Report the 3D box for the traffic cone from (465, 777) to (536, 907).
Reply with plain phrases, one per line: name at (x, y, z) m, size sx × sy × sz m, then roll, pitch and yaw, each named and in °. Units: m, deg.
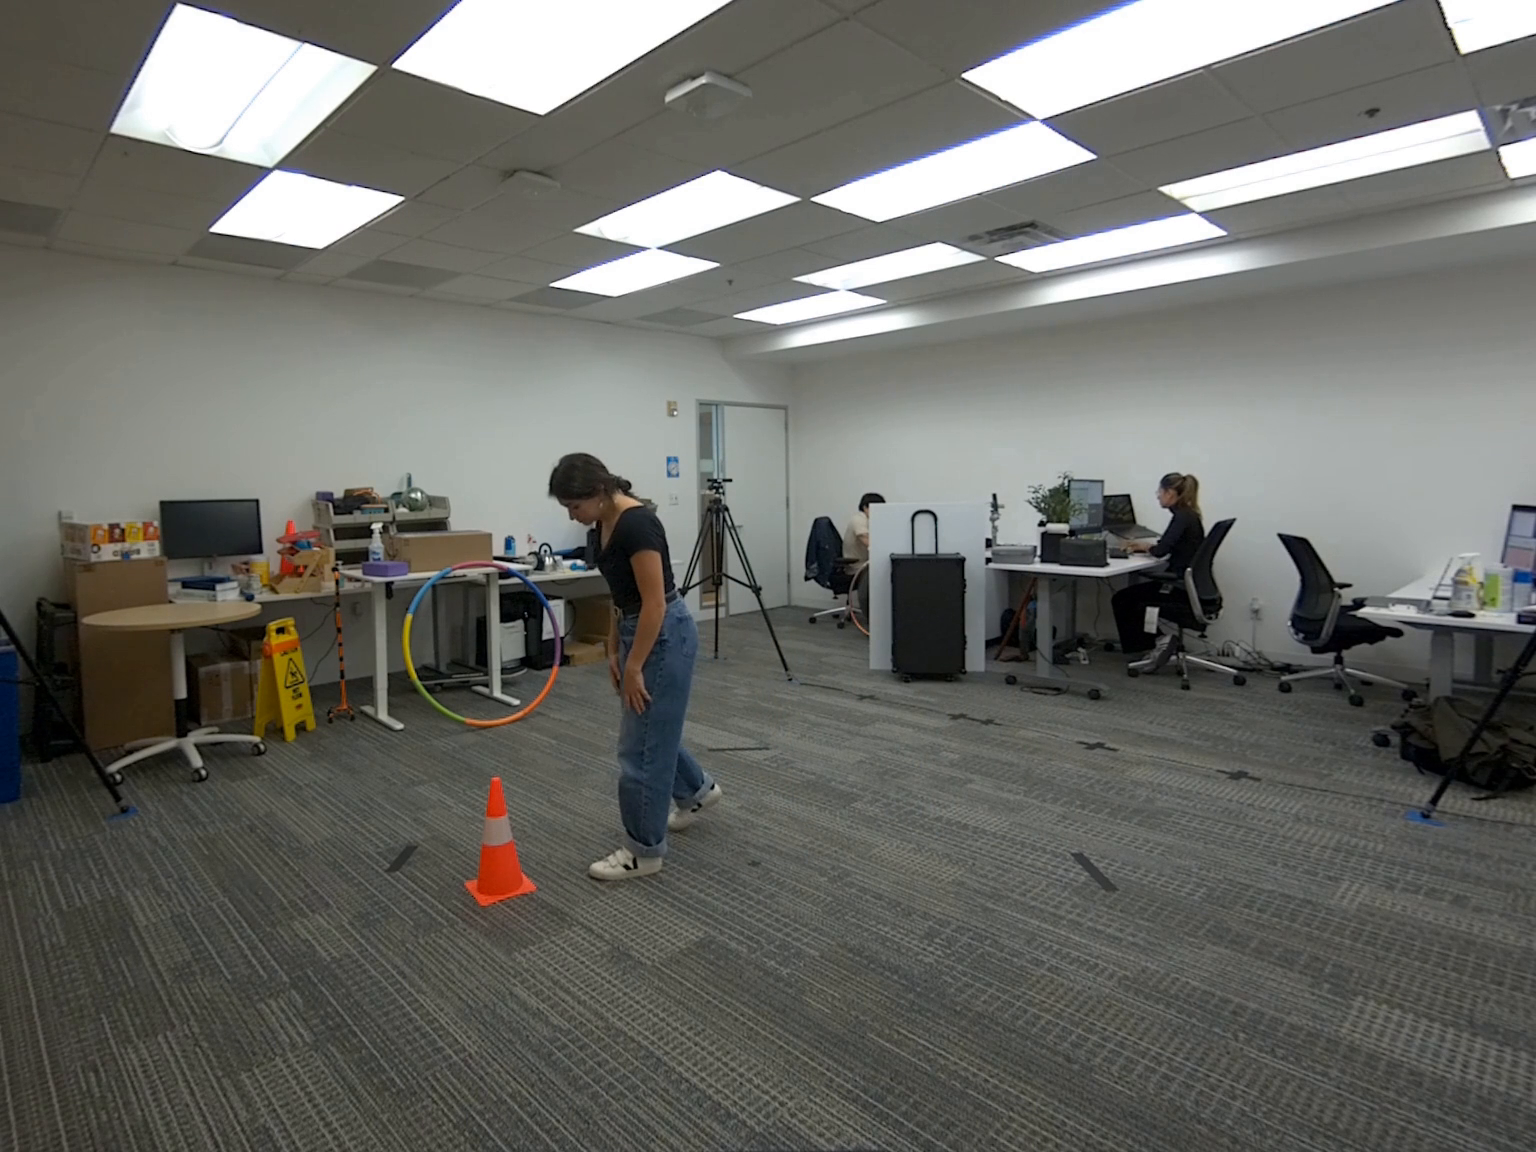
traffic cone at (-0.931, 0.893, 2.962) m, size 0.198 × 0.382 × 0.210 m, roll -4°, pitch 4°, yaw -30°
